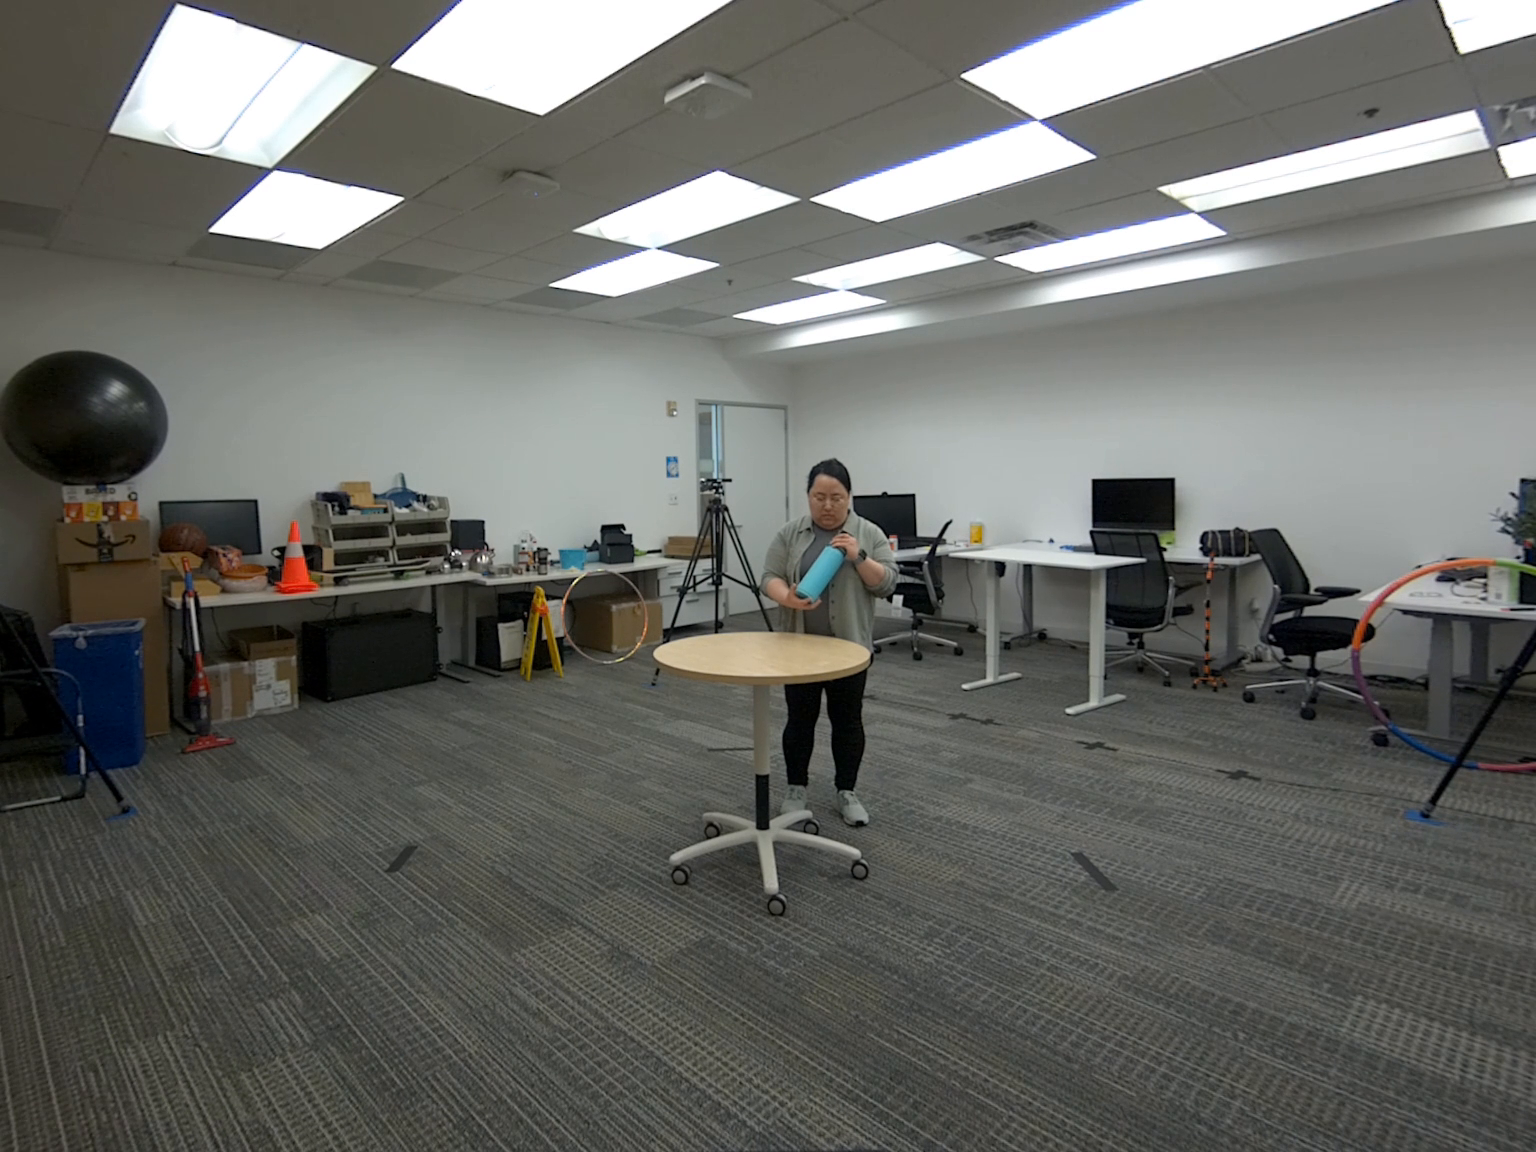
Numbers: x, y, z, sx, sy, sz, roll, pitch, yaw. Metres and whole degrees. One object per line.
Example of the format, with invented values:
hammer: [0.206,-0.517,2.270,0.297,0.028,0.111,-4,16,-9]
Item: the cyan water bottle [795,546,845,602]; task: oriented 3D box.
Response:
cyan water bottle: [0.219,-0.026,3.313,0.093,0.285,0.091,28,-17,7]
